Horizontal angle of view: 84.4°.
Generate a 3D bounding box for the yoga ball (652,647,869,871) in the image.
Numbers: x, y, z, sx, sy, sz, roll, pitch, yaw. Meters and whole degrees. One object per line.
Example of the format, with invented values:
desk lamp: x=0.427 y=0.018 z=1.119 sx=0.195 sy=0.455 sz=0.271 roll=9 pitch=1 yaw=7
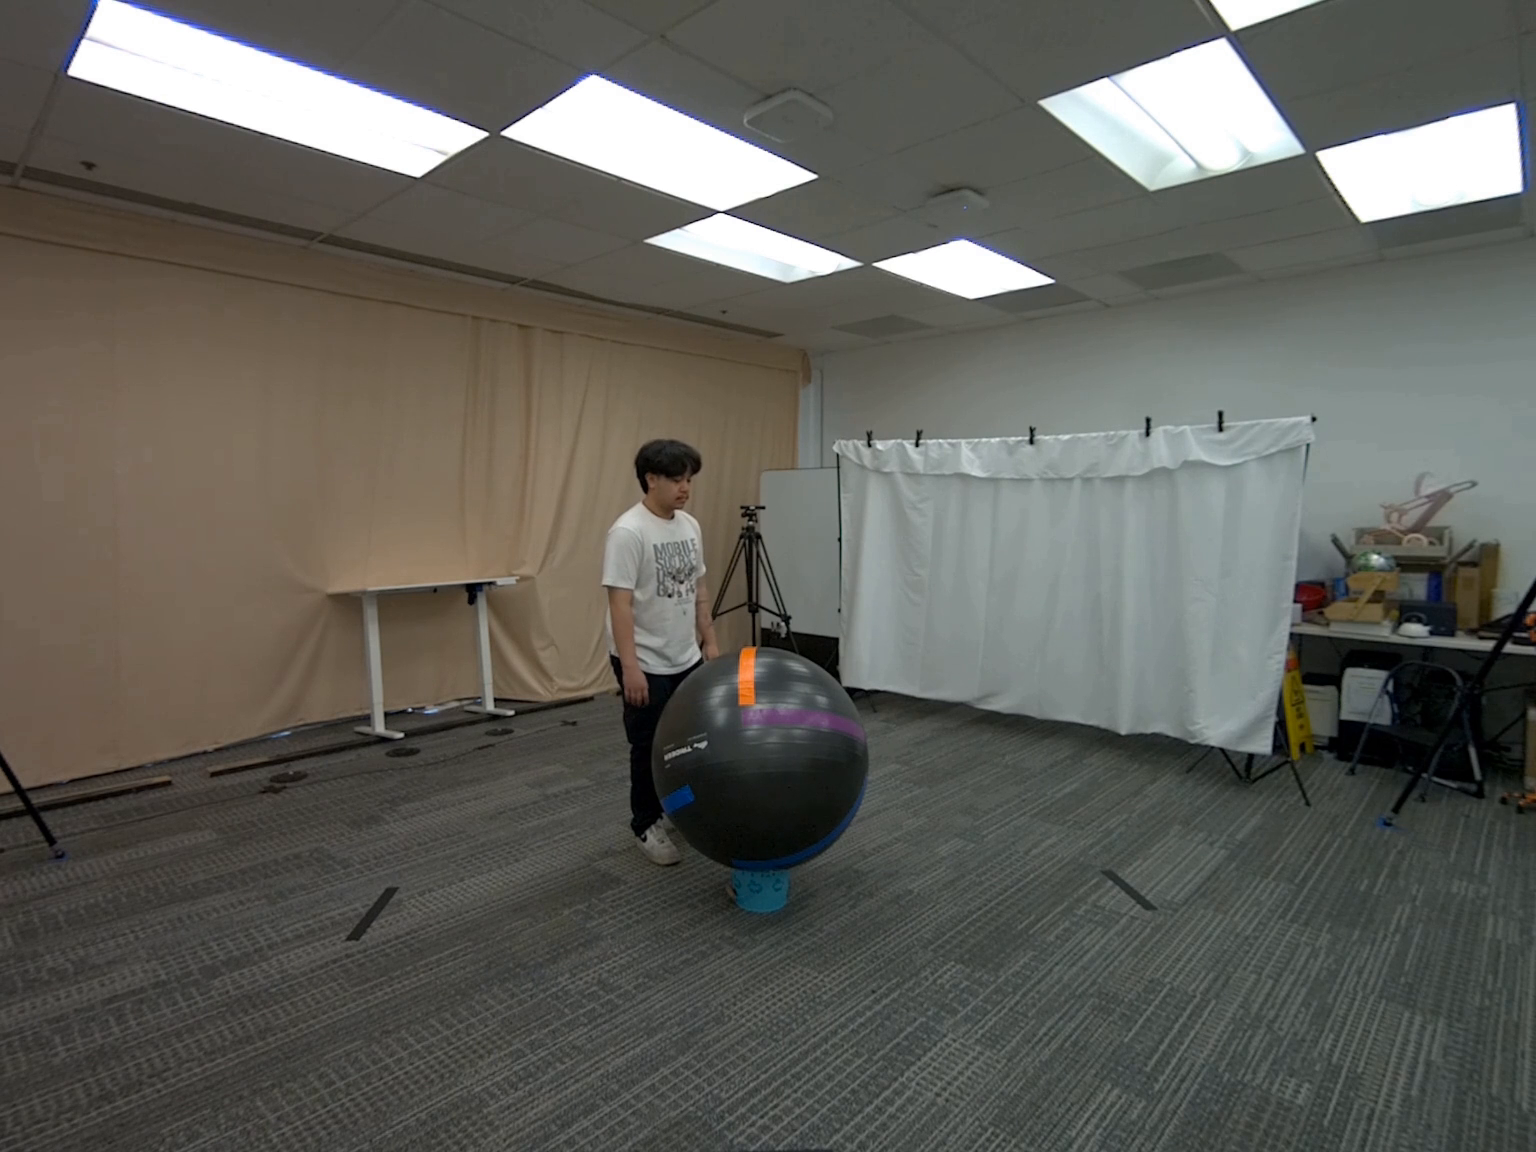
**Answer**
yoga ball: x=-0.028 y=0.637 z=2.951 sx=0.757 sy=0.756 sz=0.761 roll=0 pitch=4 yaw=-2
